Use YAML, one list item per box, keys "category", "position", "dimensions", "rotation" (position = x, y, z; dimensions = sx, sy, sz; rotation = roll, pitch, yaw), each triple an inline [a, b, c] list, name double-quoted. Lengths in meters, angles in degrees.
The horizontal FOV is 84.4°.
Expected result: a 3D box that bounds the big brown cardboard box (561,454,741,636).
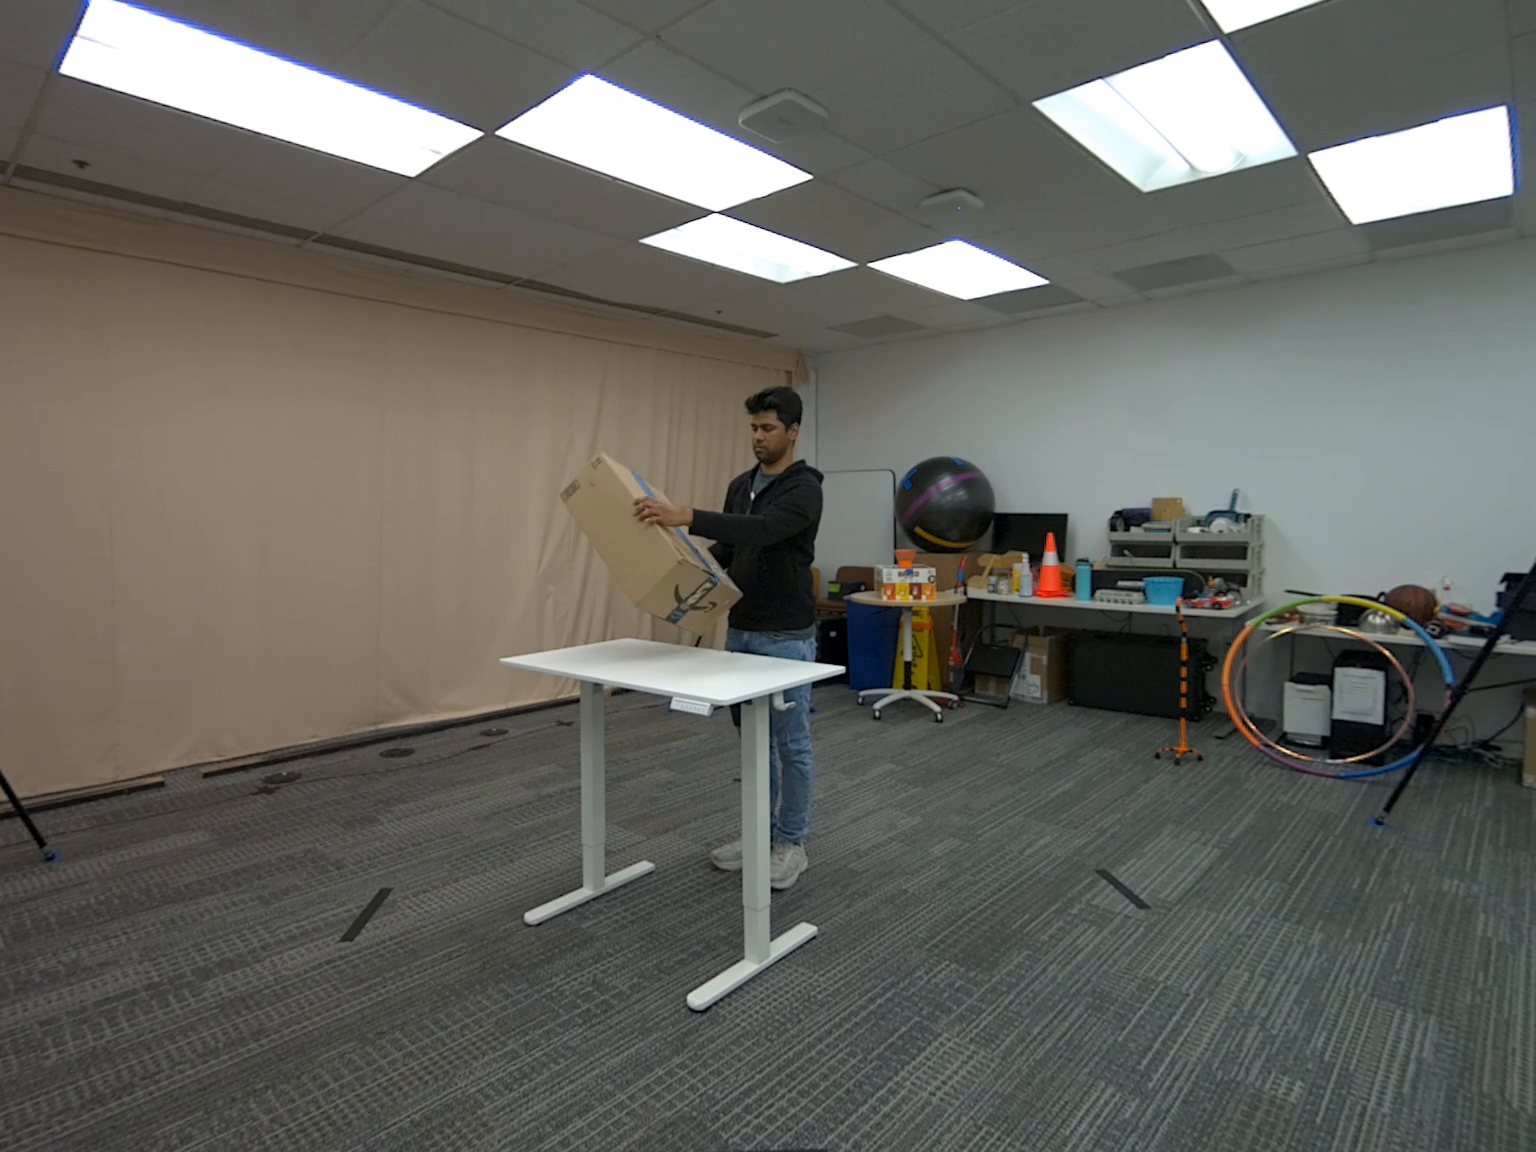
- category: "big brown cardboard box"
  position: [-0.397, -0.108, 2.927]
  dimensions: [0.608, 0.234, 0.403]
  rotation: [49, 8, 31]
